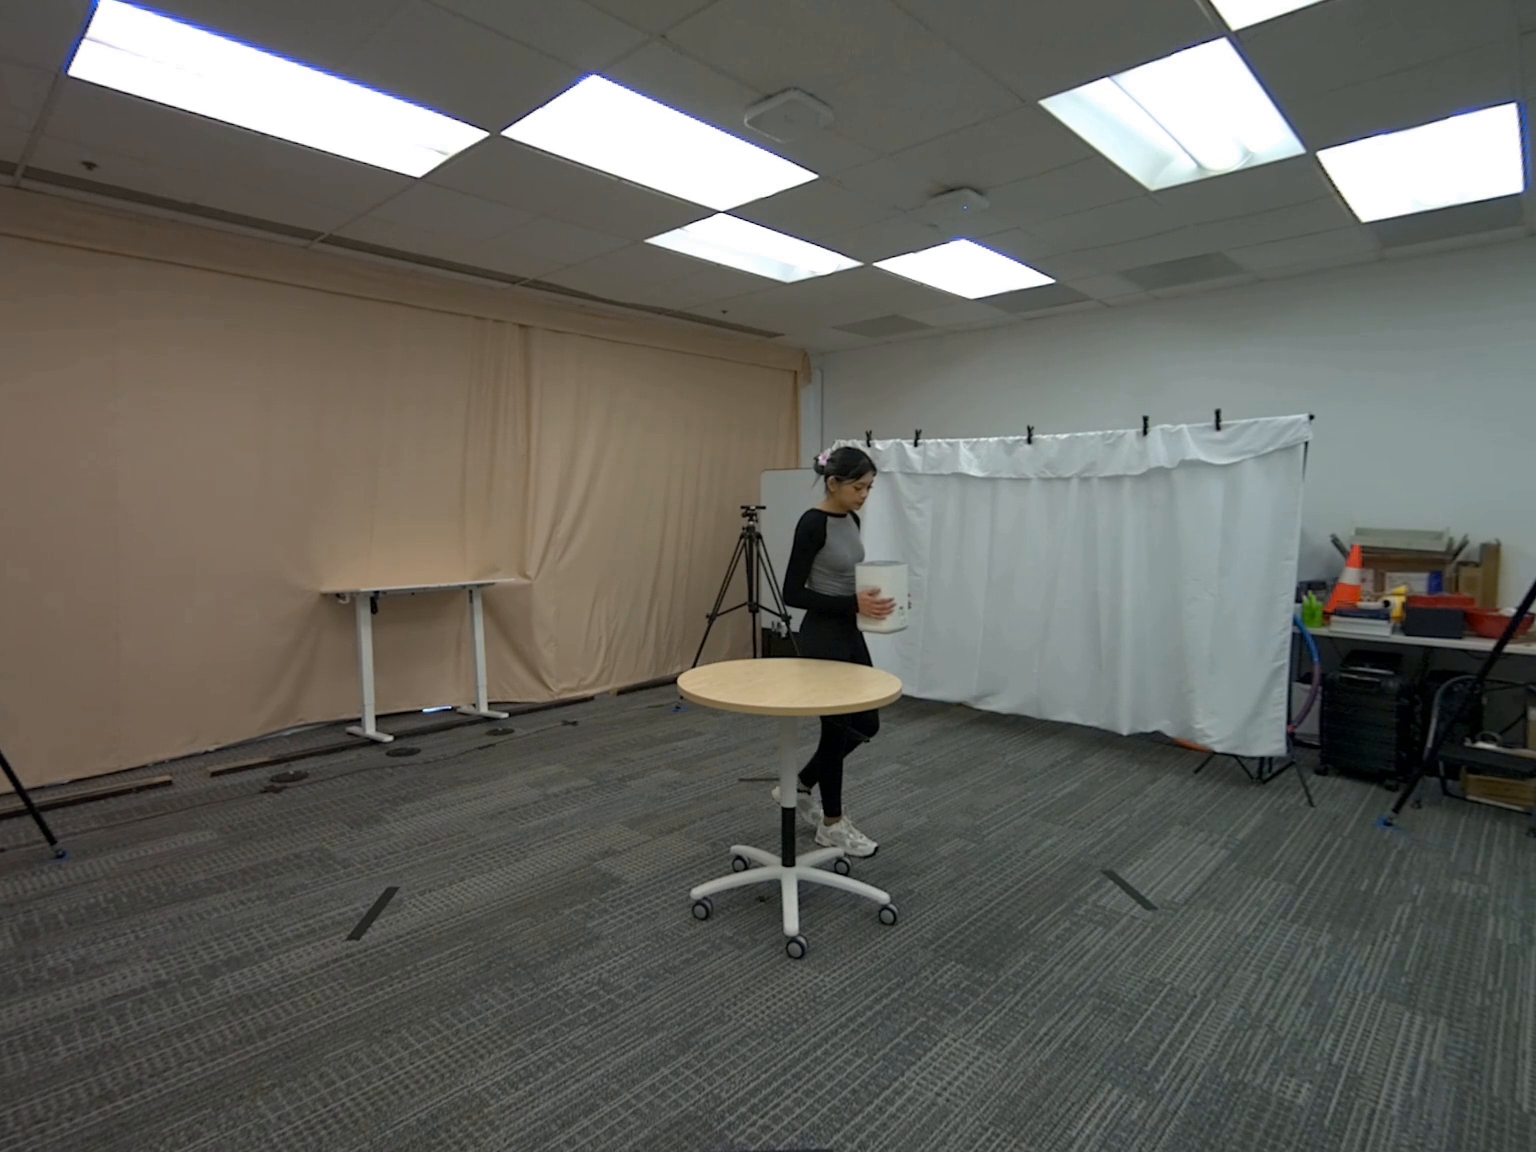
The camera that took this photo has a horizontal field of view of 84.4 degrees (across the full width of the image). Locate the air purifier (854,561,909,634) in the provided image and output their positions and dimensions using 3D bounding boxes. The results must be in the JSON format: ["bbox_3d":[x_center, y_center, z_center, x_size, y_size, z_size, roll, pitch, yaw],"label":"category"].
[{"bbox_3d":[0.439,0.080,3.247,0.176,0.265,0.166,1,5,41],"label":"air purifier"}]
